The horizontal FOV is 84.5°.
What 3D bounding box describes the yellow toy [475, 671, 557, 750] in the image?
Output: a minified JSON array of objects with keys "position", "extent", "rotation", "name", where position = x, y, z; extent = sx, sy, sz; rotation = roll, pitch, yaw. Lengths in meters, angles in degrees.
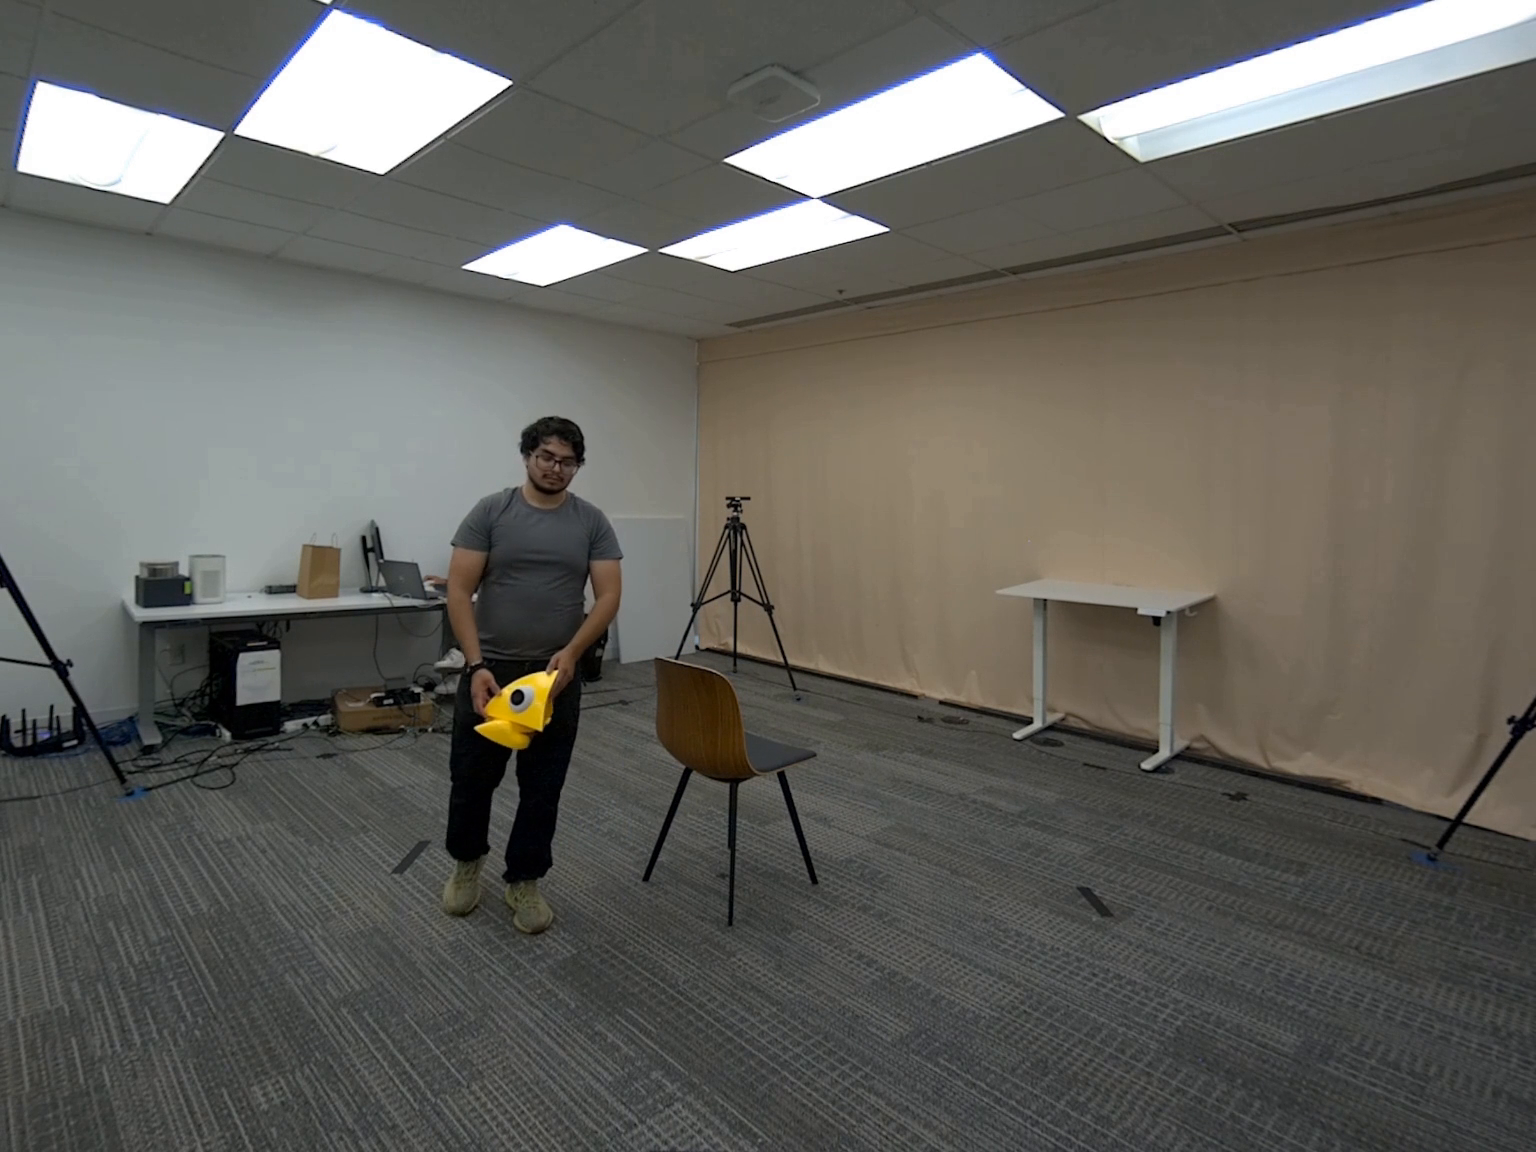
[{"position":[-0.739,0.365,2.472],"extent":[0.192,0.230,0.206],"rotation":[23,3,-6],"name":"yellow toy"}]
